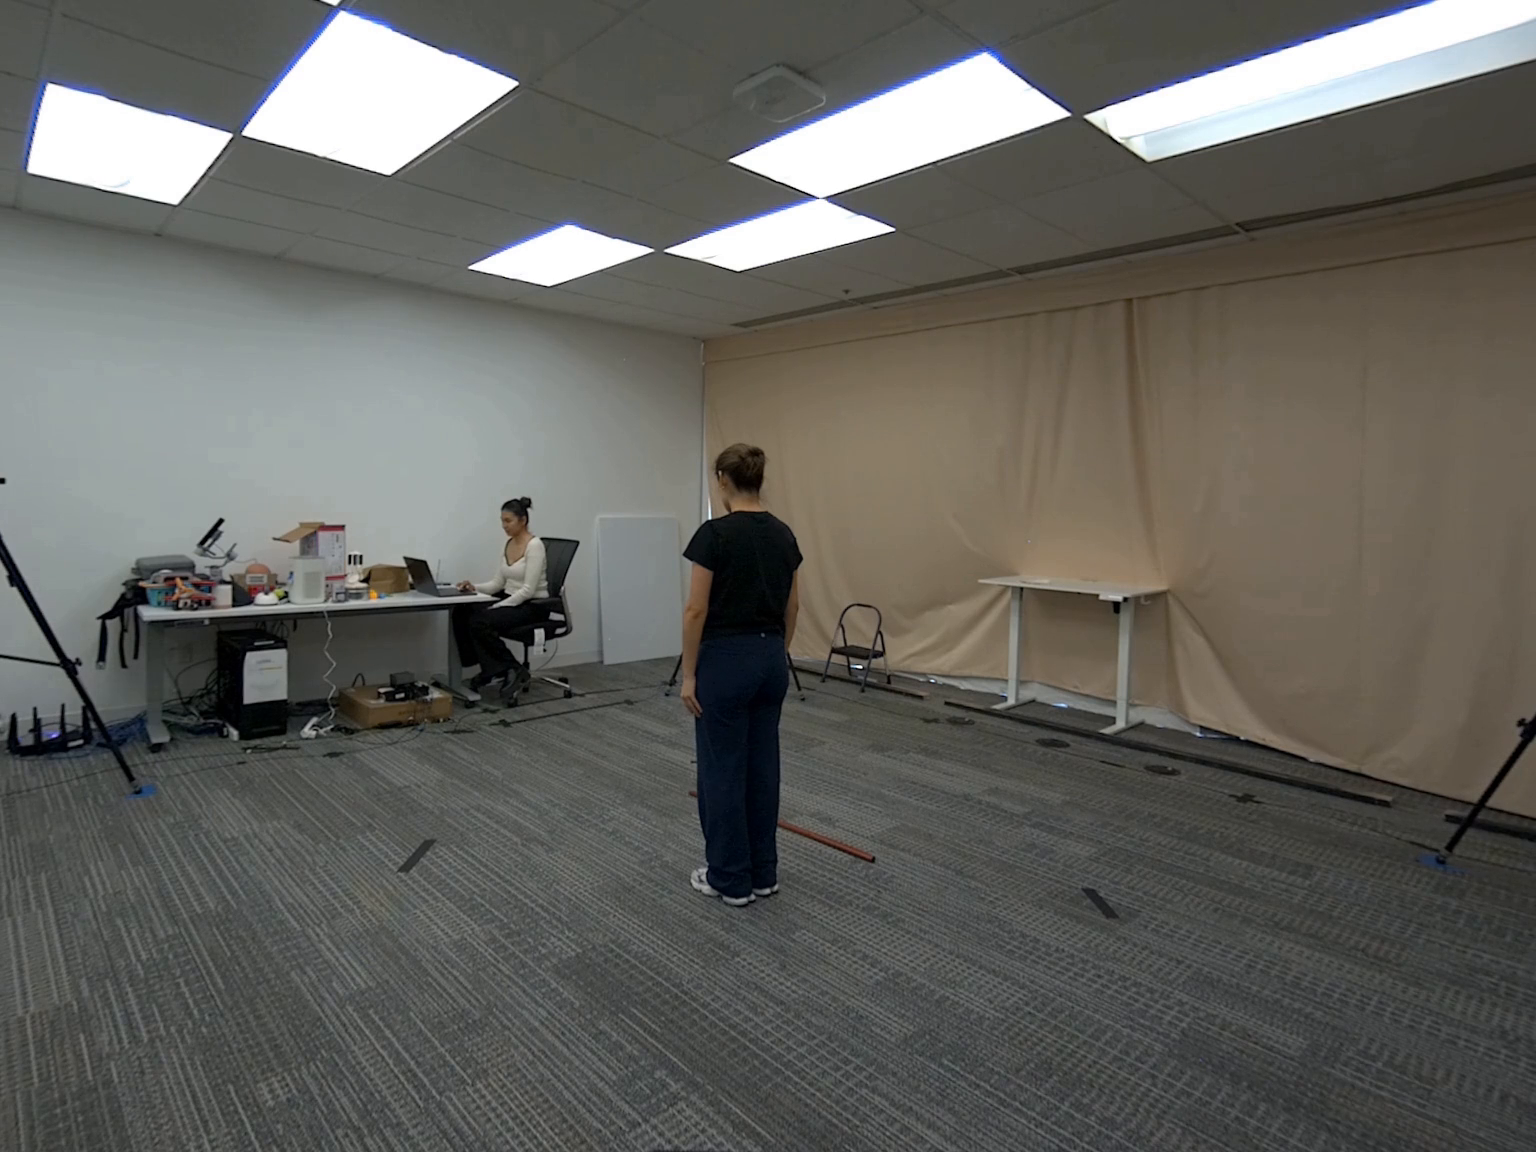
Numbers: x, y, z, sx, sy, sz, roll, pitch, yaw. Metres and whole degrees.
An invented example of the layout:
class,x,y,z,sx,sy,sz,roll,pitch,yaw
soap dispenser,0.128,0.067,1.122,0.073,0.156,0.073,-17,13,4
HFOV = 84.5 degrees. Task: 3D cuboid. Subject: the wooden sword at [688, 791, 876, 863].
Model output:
class,x,y,z,sx,sy,sz,roll,pitch,yaw
wooden sword,0.020,1.049,3.579,1.051,0.024,0.050,6,-22,41
